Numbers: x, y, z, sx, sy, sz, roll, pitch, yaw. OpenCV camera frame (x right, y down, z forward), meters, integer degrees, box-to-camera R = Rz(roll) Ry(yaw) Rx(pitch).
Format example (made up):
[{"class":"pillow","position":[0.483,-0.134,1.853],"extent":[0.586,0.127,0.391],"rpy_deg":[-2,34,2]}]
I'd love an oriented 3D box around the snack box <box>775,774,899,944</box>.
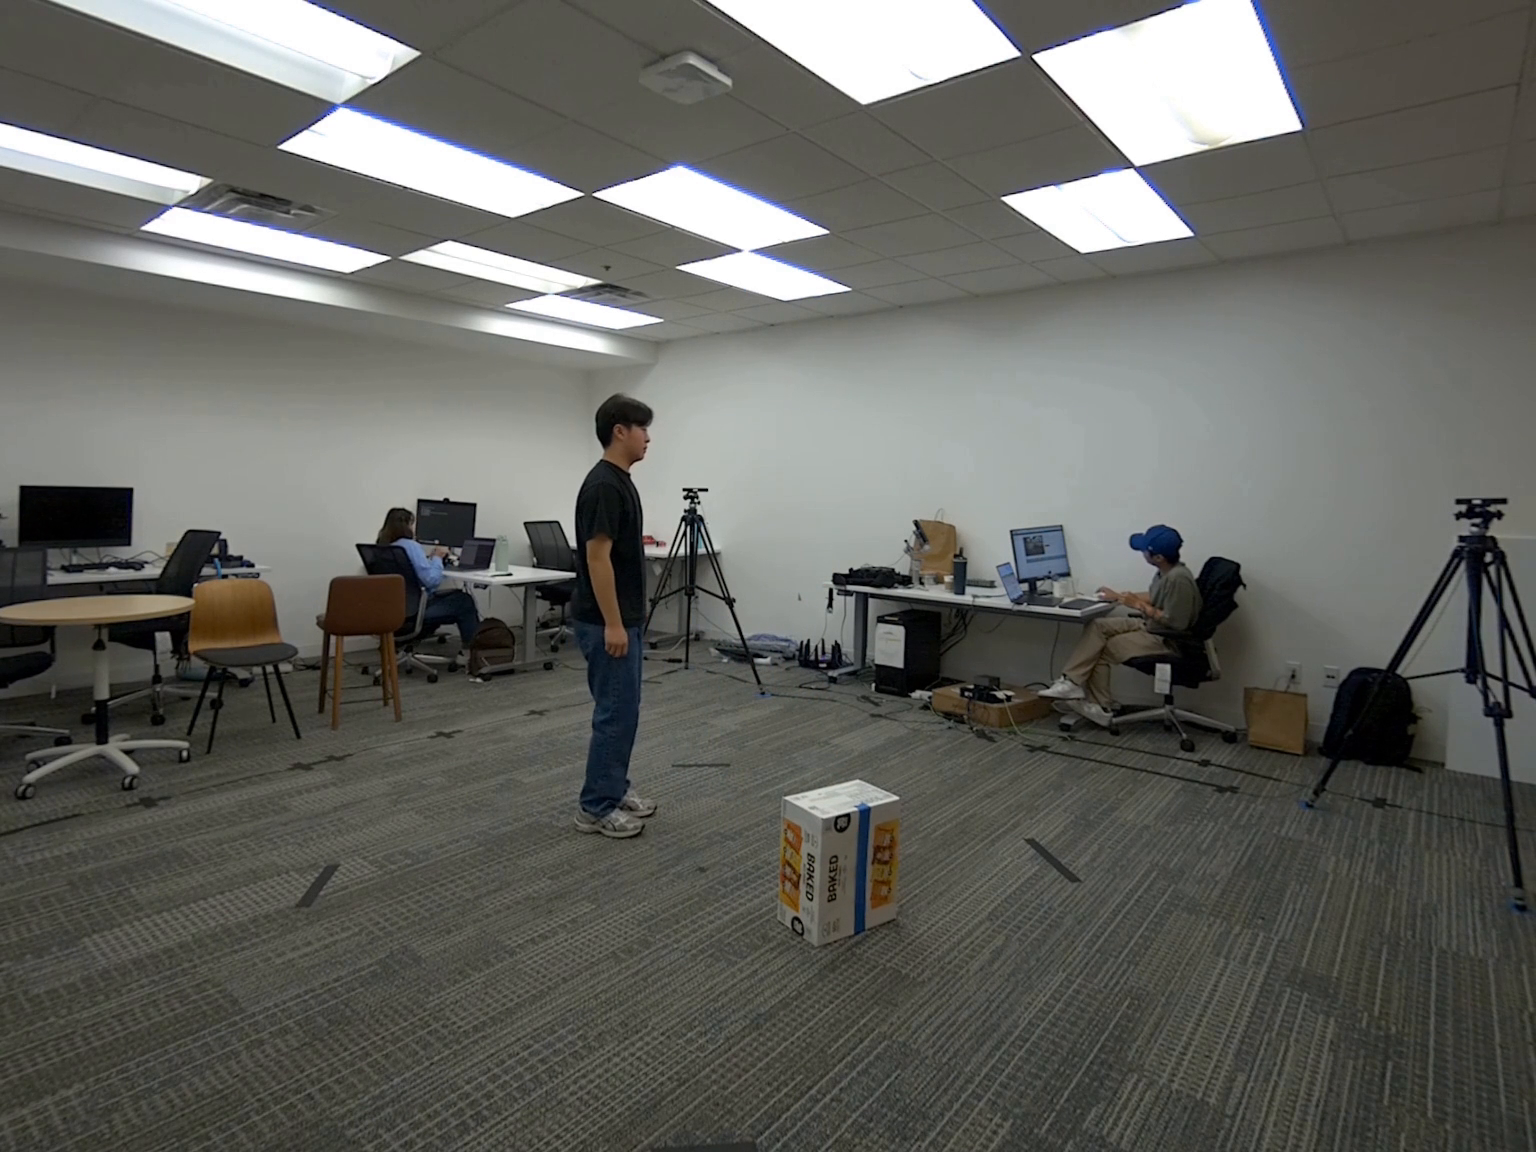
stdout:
[{"class":"snack box","position":[0.224,0.907,2.747],"extent":[0.330,0.404,0.212],"rpy_deg":[-2,4,-36]}]
